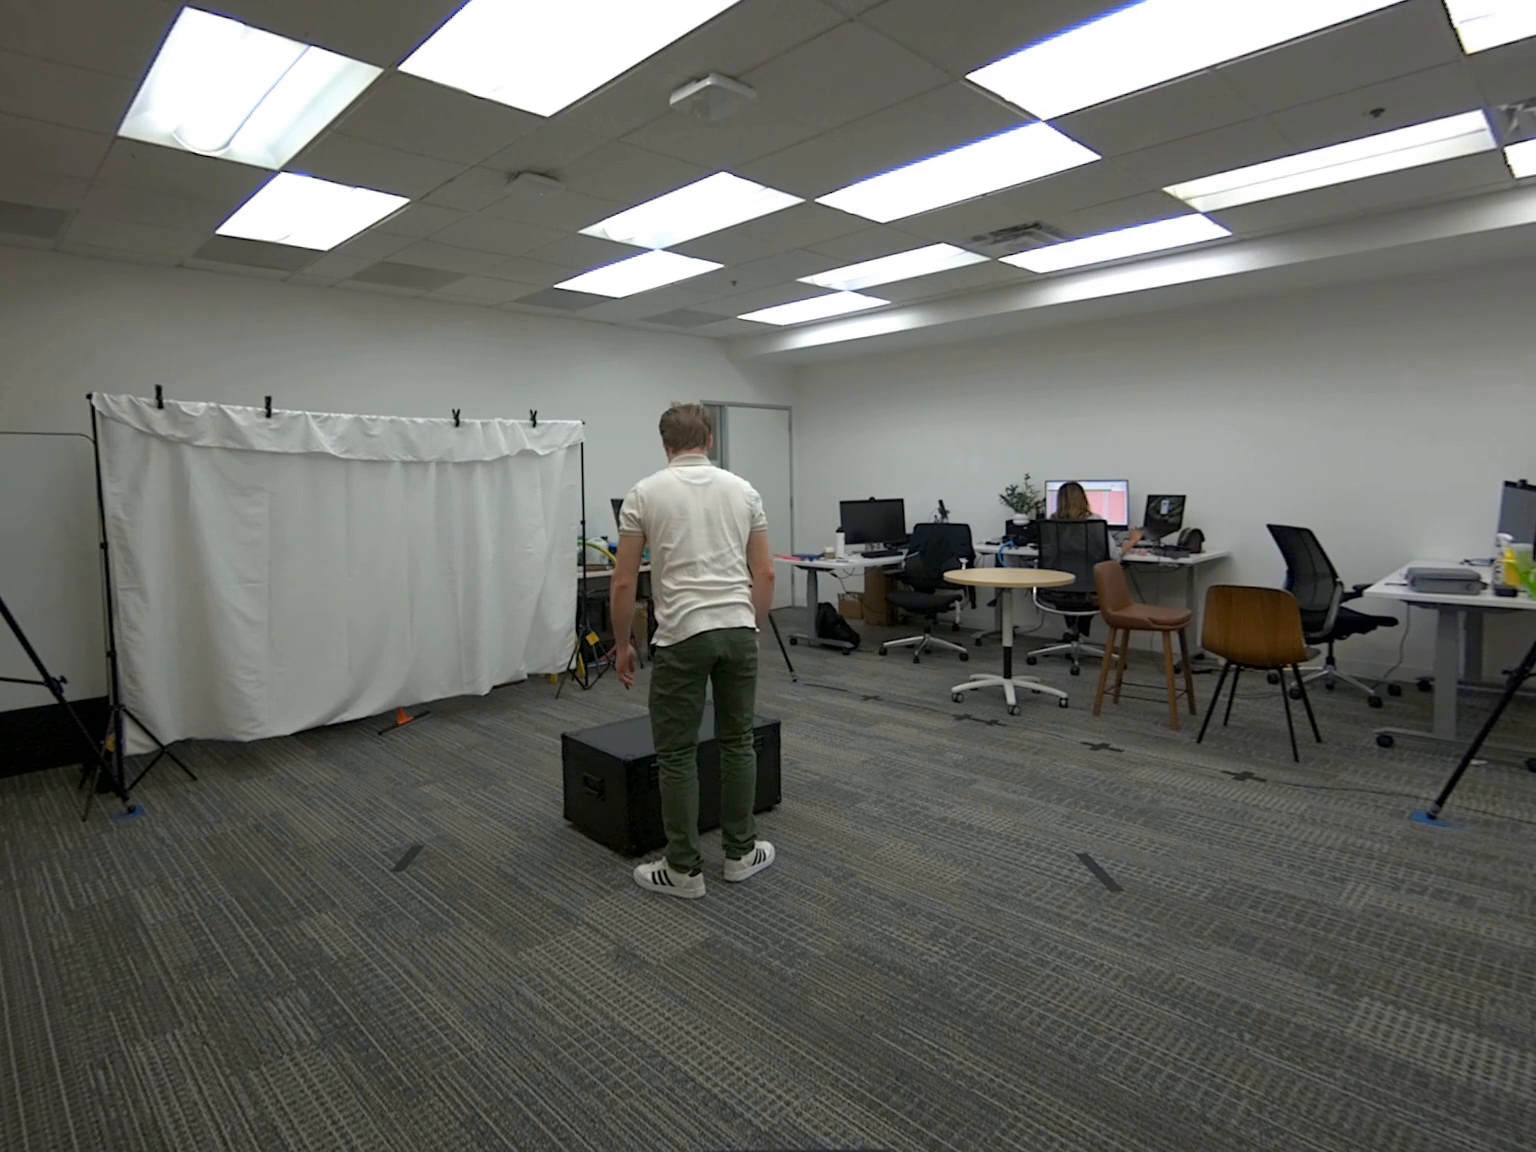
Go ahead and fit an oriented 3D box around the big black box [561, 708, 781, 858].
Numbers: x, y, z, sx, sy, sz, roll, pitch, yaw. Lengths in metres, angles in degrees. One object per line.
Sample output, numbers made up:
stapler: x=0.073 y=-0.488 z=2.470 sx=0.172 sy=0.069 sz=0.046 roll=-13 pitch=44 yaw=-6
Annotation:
big black box: x=-0.363 y=0.803 z=3.576 sx=0.846 sy=0.384 sz=0.539 roll=-6 pitch=6 yaw=-41
